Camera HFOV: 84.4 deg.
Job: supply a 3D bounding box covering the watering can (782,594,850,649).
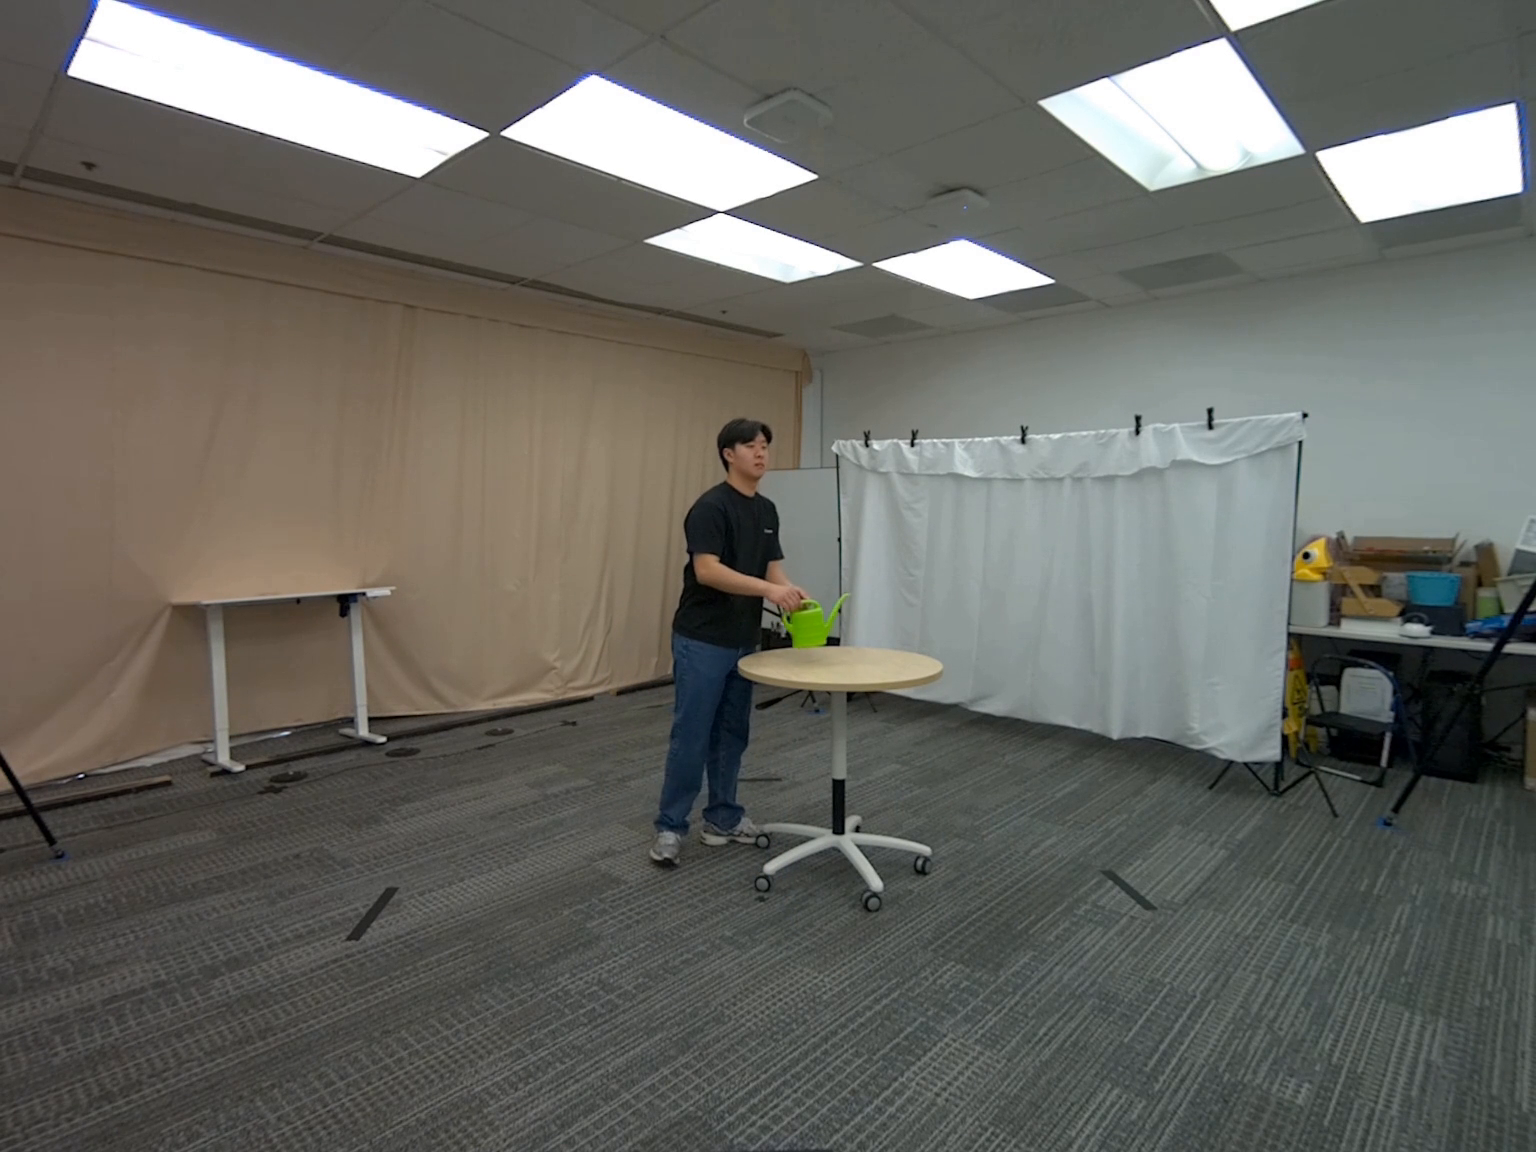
[{"bbox_3d":[0.199,0.173,3.175,0.278,0.176,0.098,-6,6,-2],"label":"watering can"}]
